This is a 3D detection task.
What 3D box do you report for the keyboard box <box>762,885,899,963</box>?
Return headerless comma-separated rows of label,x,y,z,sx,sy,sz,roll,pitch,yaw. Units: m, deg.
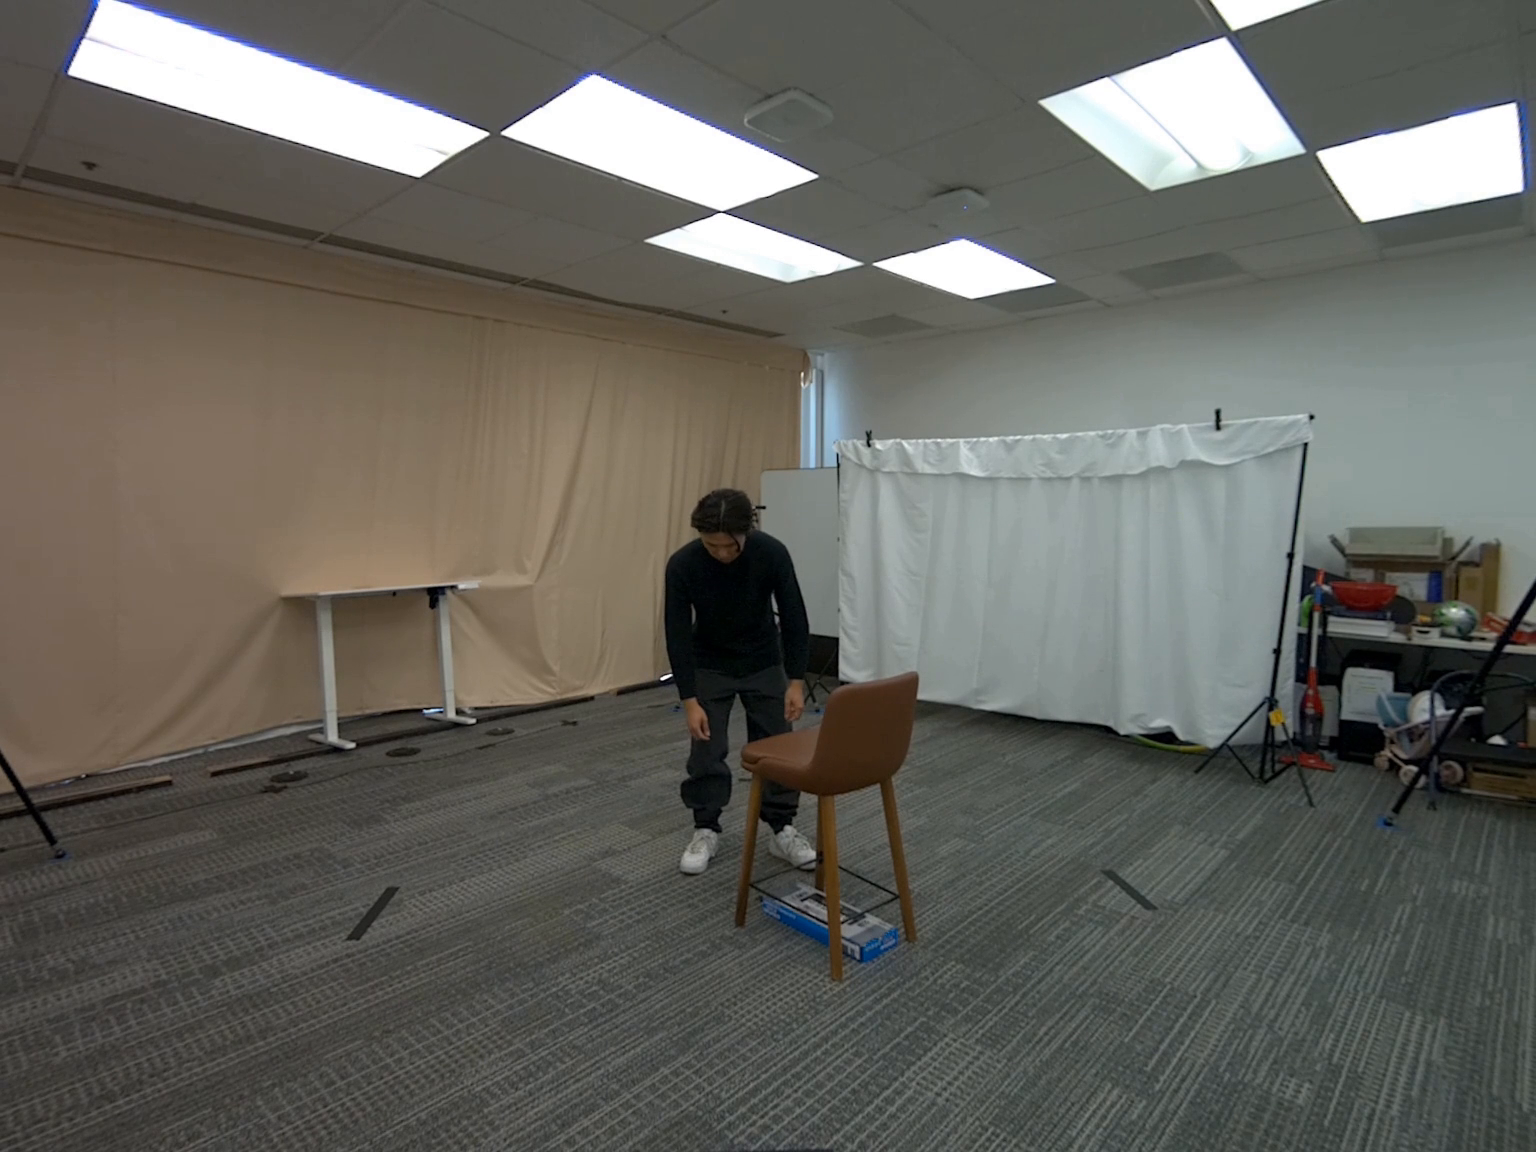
keyboard box,0.198,1.140,2.767,0.171,0.059,0.451,-8,9,-42
